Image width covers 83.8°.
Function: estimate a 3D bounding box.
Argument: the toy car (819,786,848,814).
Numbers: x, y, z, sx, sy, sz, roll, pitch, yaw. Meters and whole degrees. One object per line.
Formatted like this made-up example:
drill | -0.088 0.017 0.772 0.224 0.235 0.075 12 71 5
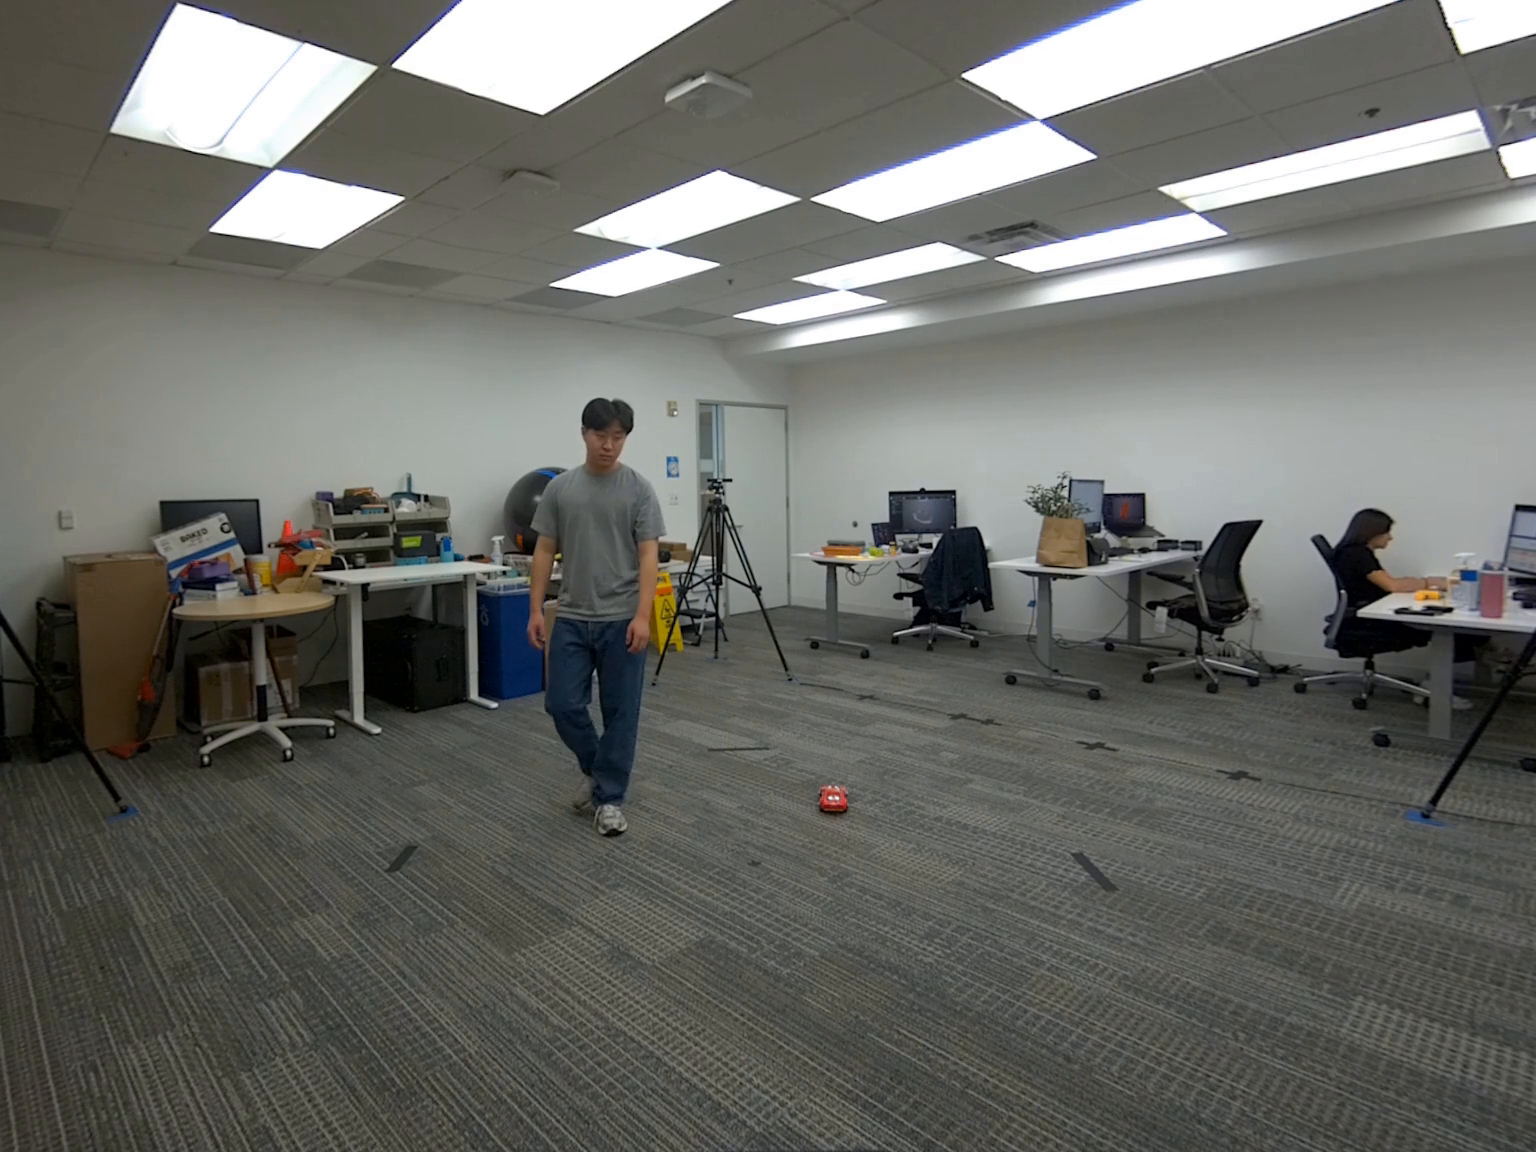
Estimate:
toy car | 0.275 0.945 3.630 0.131 0.083 0.252 1 -5 4
